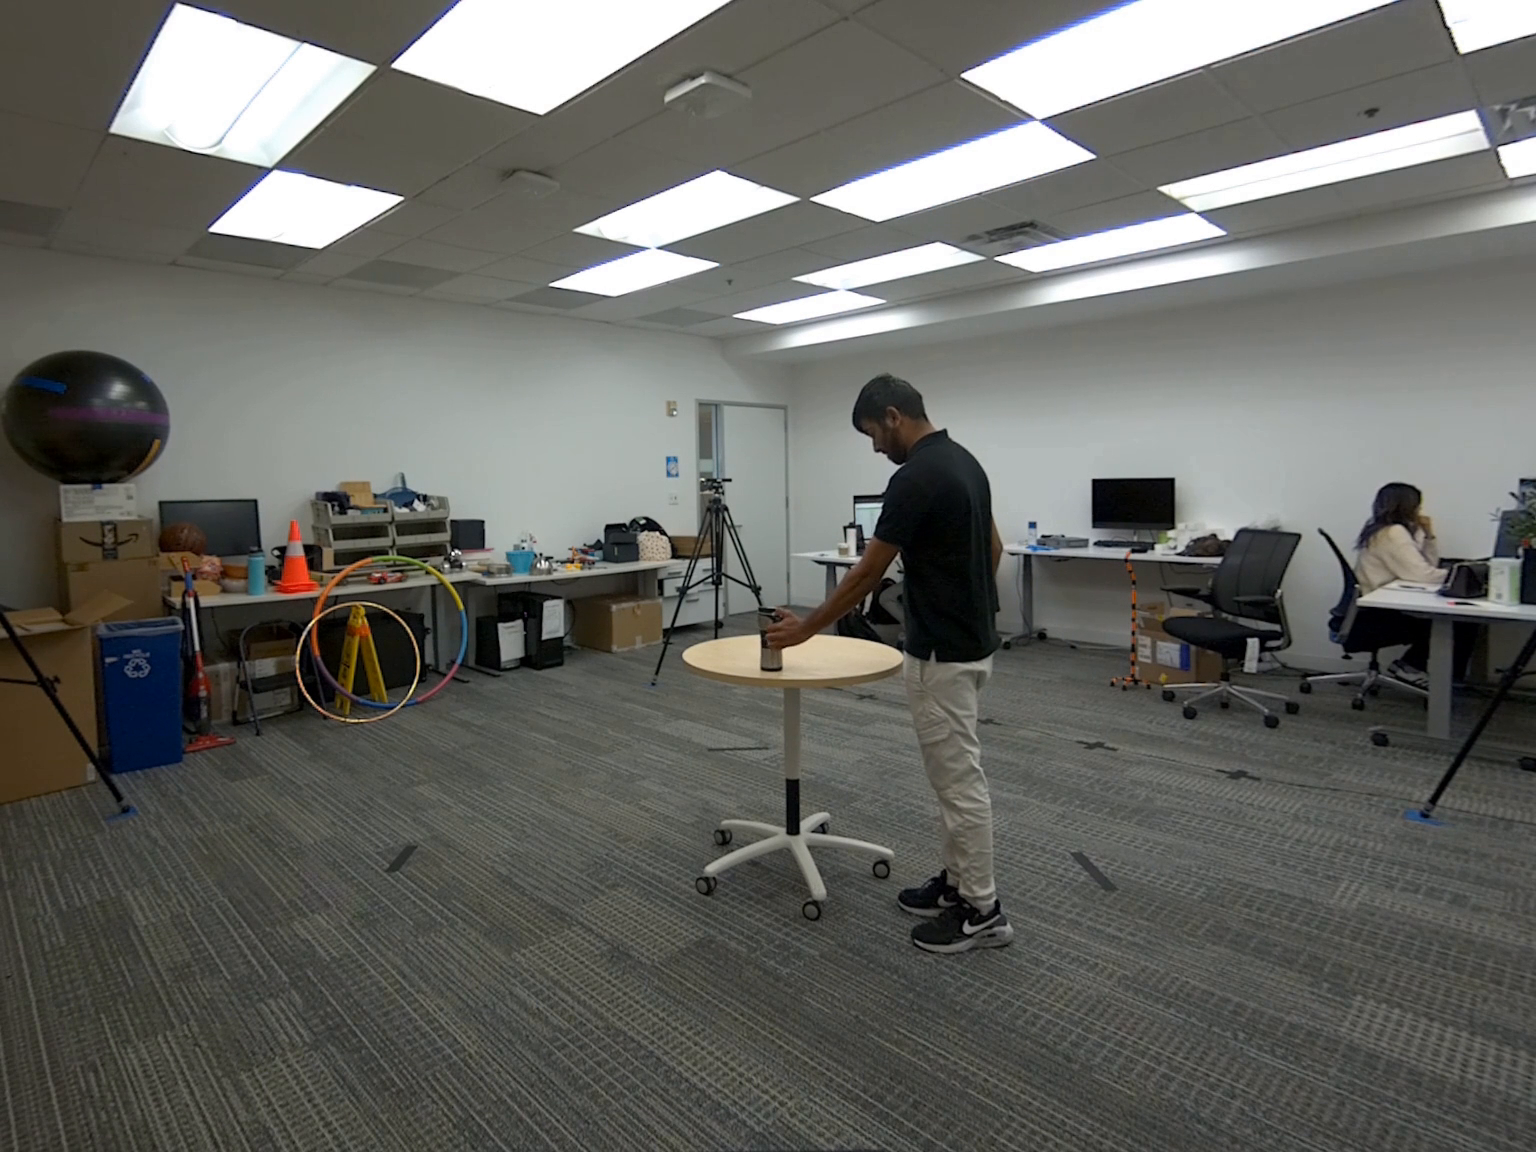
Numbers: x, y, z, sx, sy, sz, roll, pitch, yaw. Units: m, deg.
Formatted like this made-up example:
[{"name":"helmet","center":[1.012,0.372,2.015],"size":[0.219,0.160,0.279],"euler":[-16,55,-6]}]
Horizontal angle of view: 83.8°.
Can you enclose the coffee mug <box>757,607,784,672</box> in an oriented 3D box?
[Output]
[{"name":"coffee mug","center":[0.007,0.201,2.721],"size":[0.090,0.203,0.119],"euler":[4,0,26]}]
